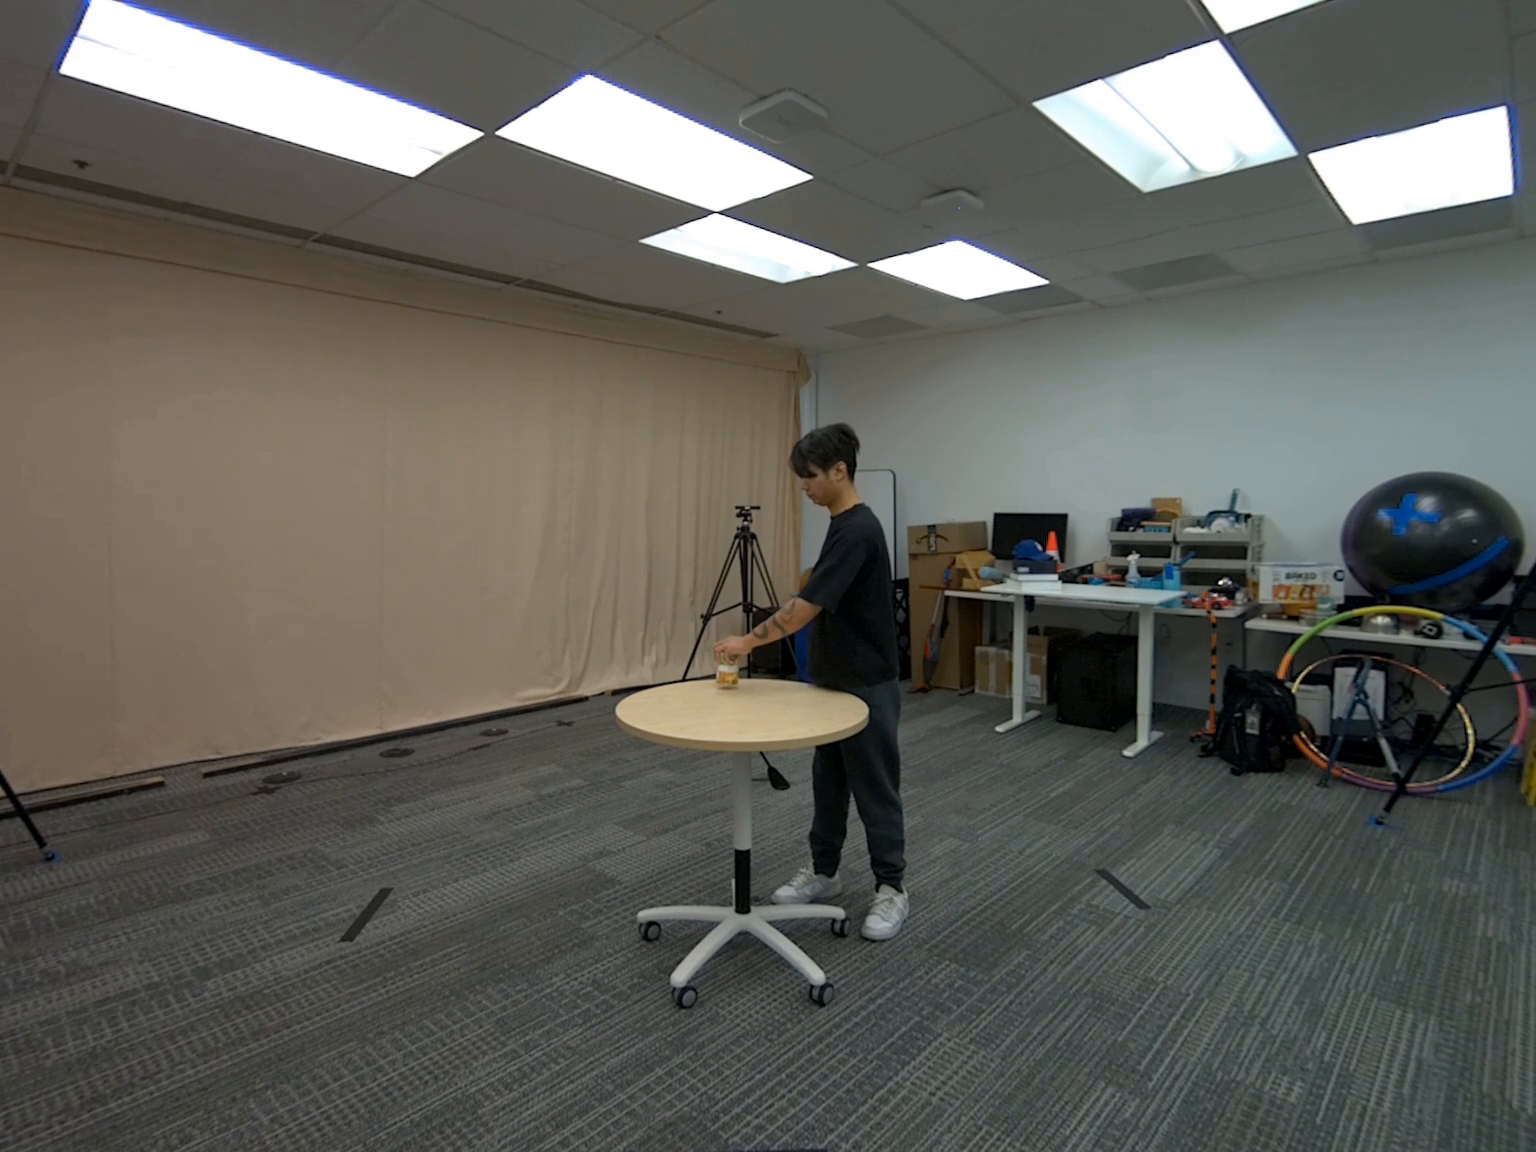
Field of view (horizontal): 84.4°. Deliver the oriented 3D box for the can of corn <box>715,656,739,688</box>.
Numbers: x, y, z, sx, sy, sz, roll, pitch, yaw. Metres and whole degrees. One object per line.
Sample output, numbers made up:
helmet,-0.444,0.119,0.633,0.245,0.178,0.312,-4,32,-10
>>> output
can of corn,-0.121,0.306,2.784,0.074,0.111,0.074,1,2,-2
